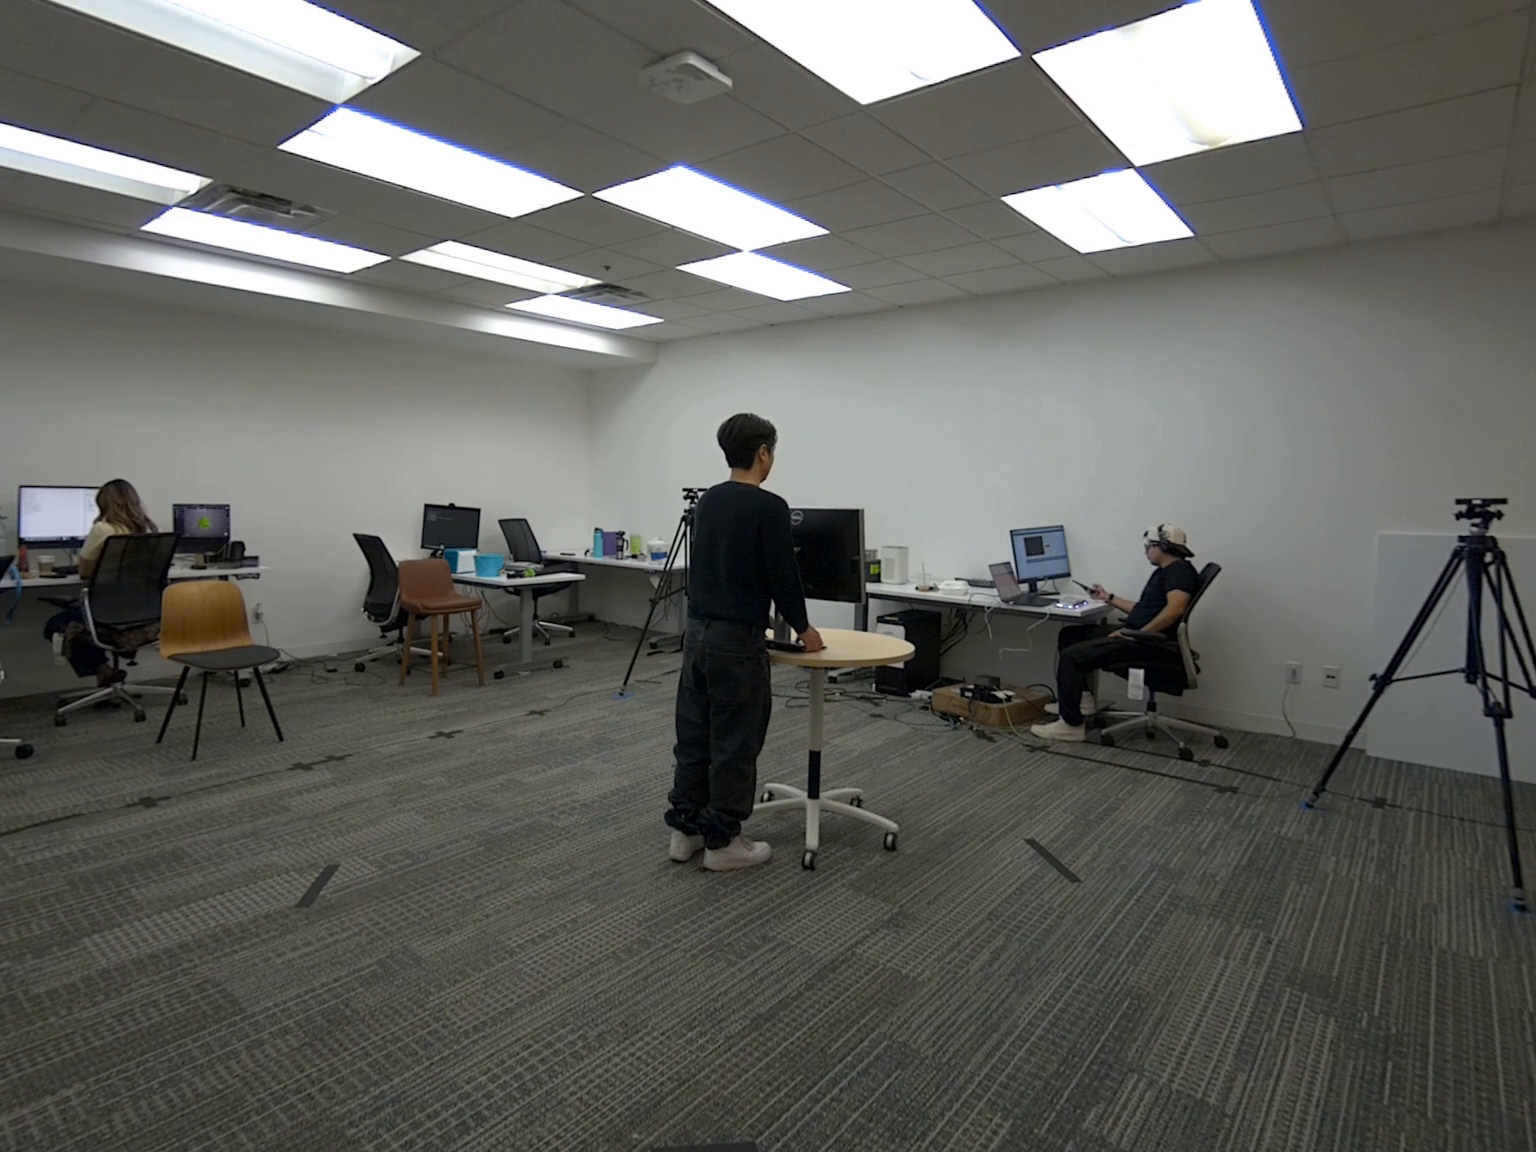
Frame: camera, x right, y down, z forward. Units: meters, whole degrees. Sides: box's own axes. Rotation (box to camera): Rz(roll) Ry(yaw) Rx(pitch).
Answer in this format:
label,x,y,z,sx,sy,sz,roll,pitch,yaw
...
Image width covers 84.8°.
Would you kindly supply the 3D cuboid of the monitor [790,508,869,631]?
label,x,y,z,sx,sy,sz,roll,pitch,yaw
monitor,0.097,0.000,3.325,0.556,0.524,0.181,4,-2,36
